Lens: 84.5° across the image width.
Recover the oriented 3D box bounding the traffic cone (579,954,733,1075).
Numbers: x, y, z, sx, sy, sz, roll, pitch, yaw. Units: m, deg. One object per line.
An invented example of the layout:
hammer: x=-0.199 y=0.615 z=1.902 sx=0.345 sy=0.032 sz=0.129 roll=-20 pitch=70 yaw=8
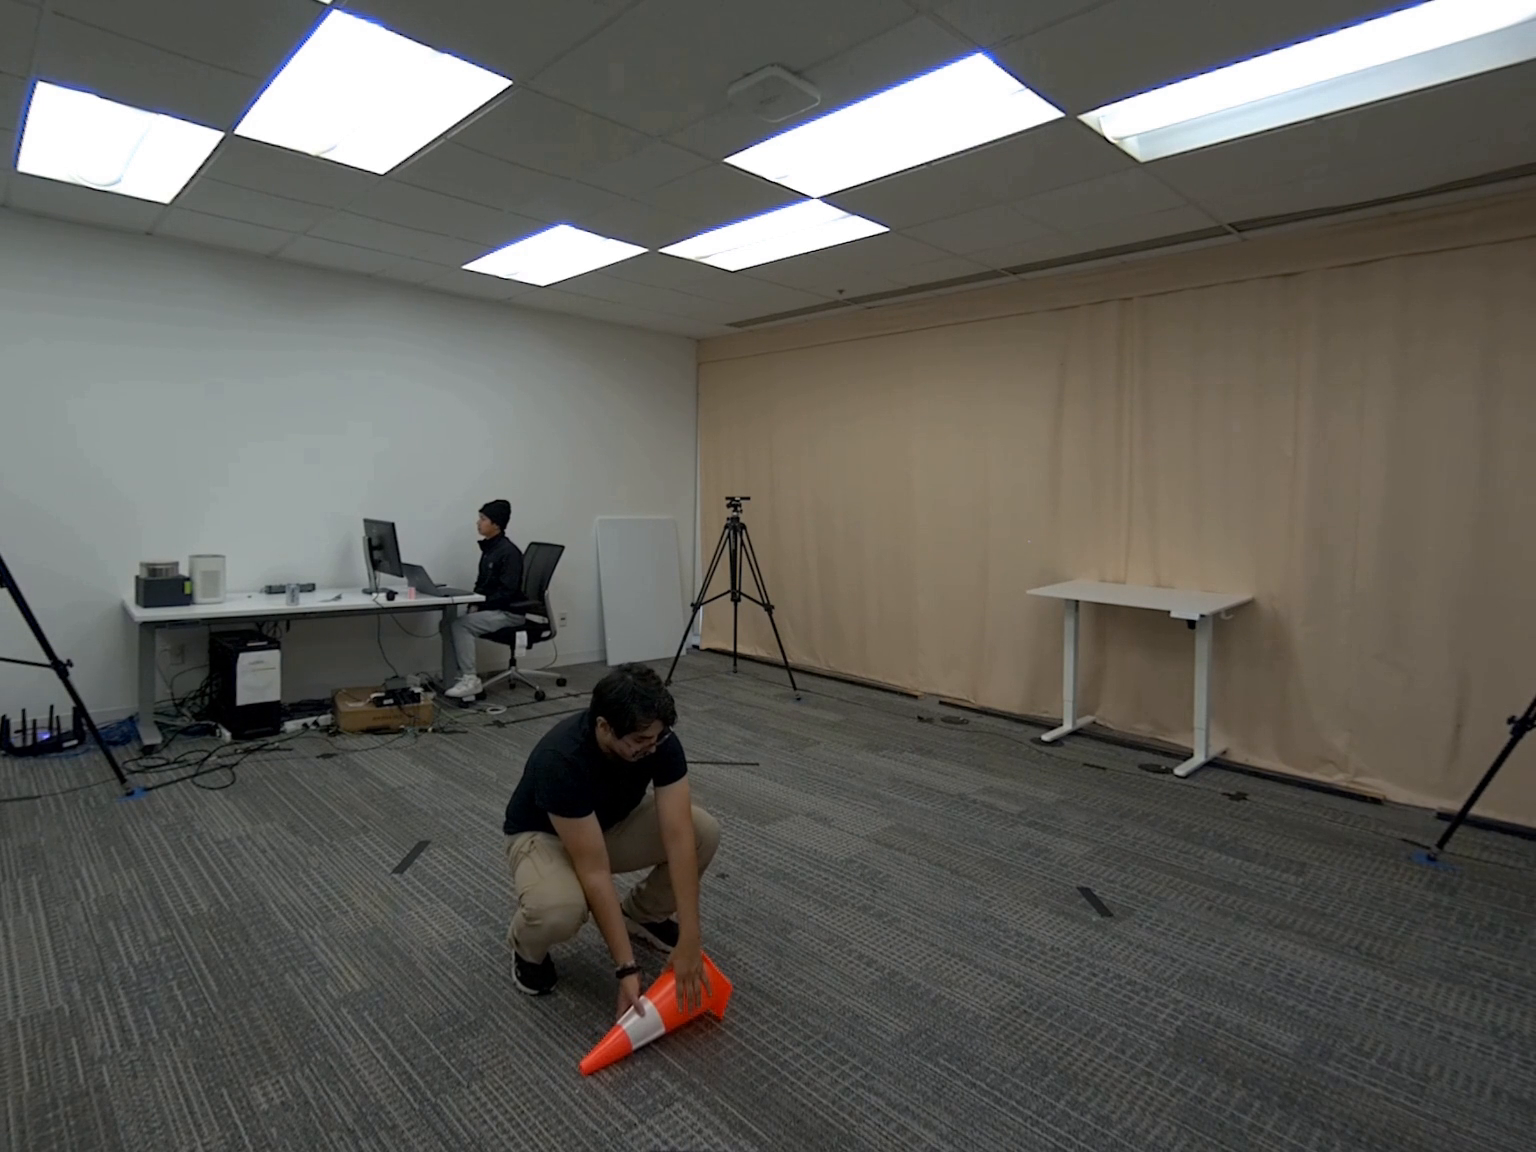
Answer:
traffic cone: x=-0.316 y=1.132 z=2.123 sx=0.379 sy=0.202 sz=0.209 roll=-25 pitch=51 yaw=-39
